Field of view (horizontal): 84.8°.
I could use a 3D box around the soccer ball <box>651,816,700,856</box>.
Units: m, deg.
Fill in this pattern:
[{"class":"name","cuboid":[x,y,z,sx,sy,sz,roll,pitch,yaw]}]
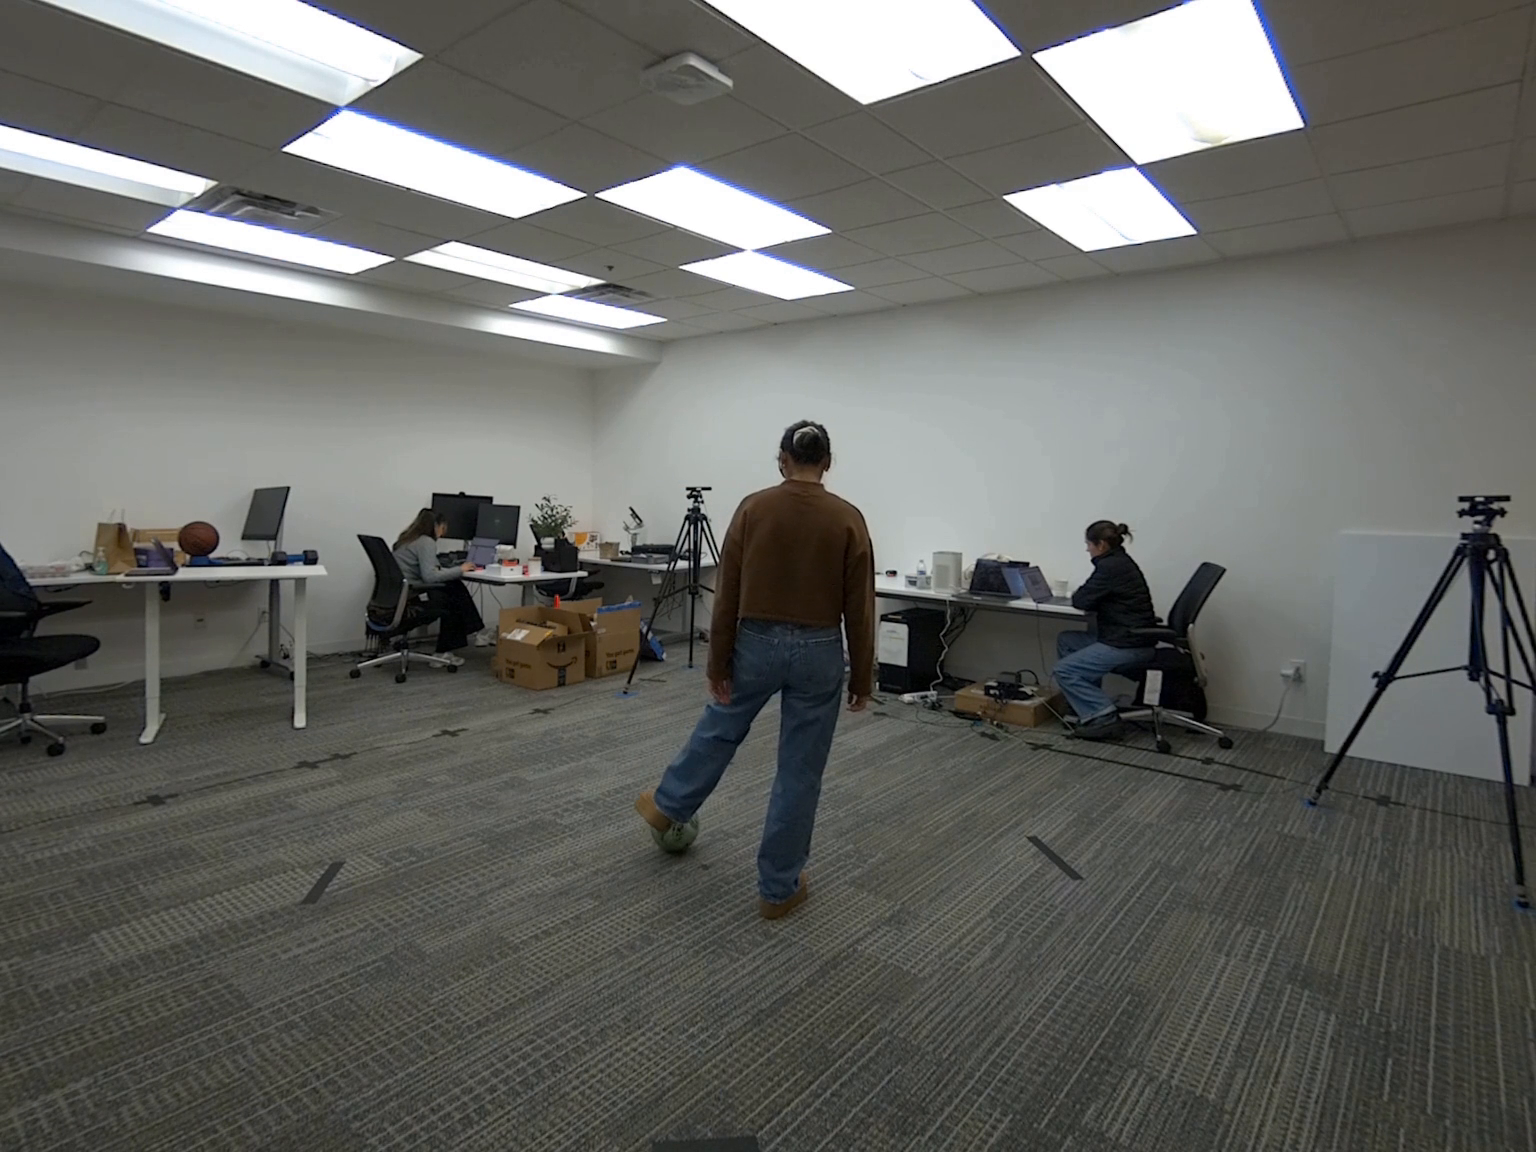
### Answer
[{"class":"soccer ball","cuboid":[-0.358,0.956,3.262,0.187,0.187,0.188,1,4,-2]}]
